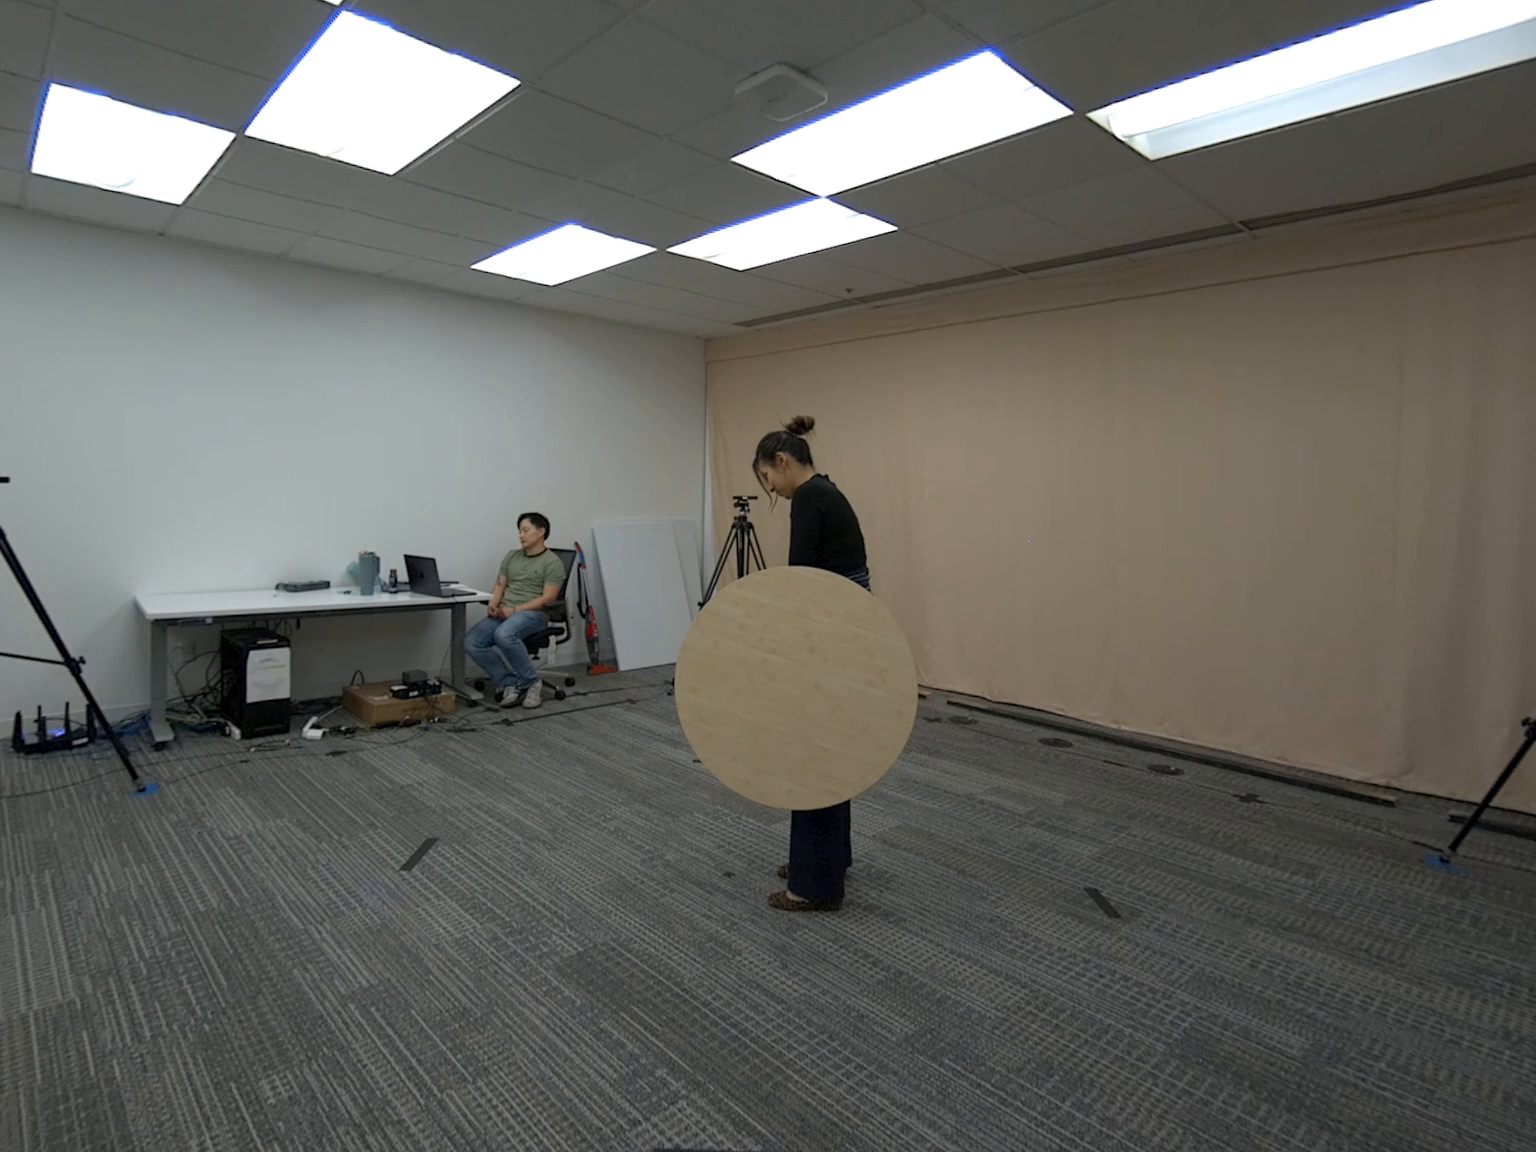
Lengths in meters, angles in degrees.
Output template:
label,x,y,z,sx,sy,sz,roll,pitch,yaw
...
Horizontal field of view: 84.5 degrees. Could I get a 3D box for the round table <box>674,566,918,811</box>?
label,x,y,z,sx,sy,sz,roll,pitch,yaw
round table,0.111,0.343,3.037,0.768,0.764,0.789,2,1,6
